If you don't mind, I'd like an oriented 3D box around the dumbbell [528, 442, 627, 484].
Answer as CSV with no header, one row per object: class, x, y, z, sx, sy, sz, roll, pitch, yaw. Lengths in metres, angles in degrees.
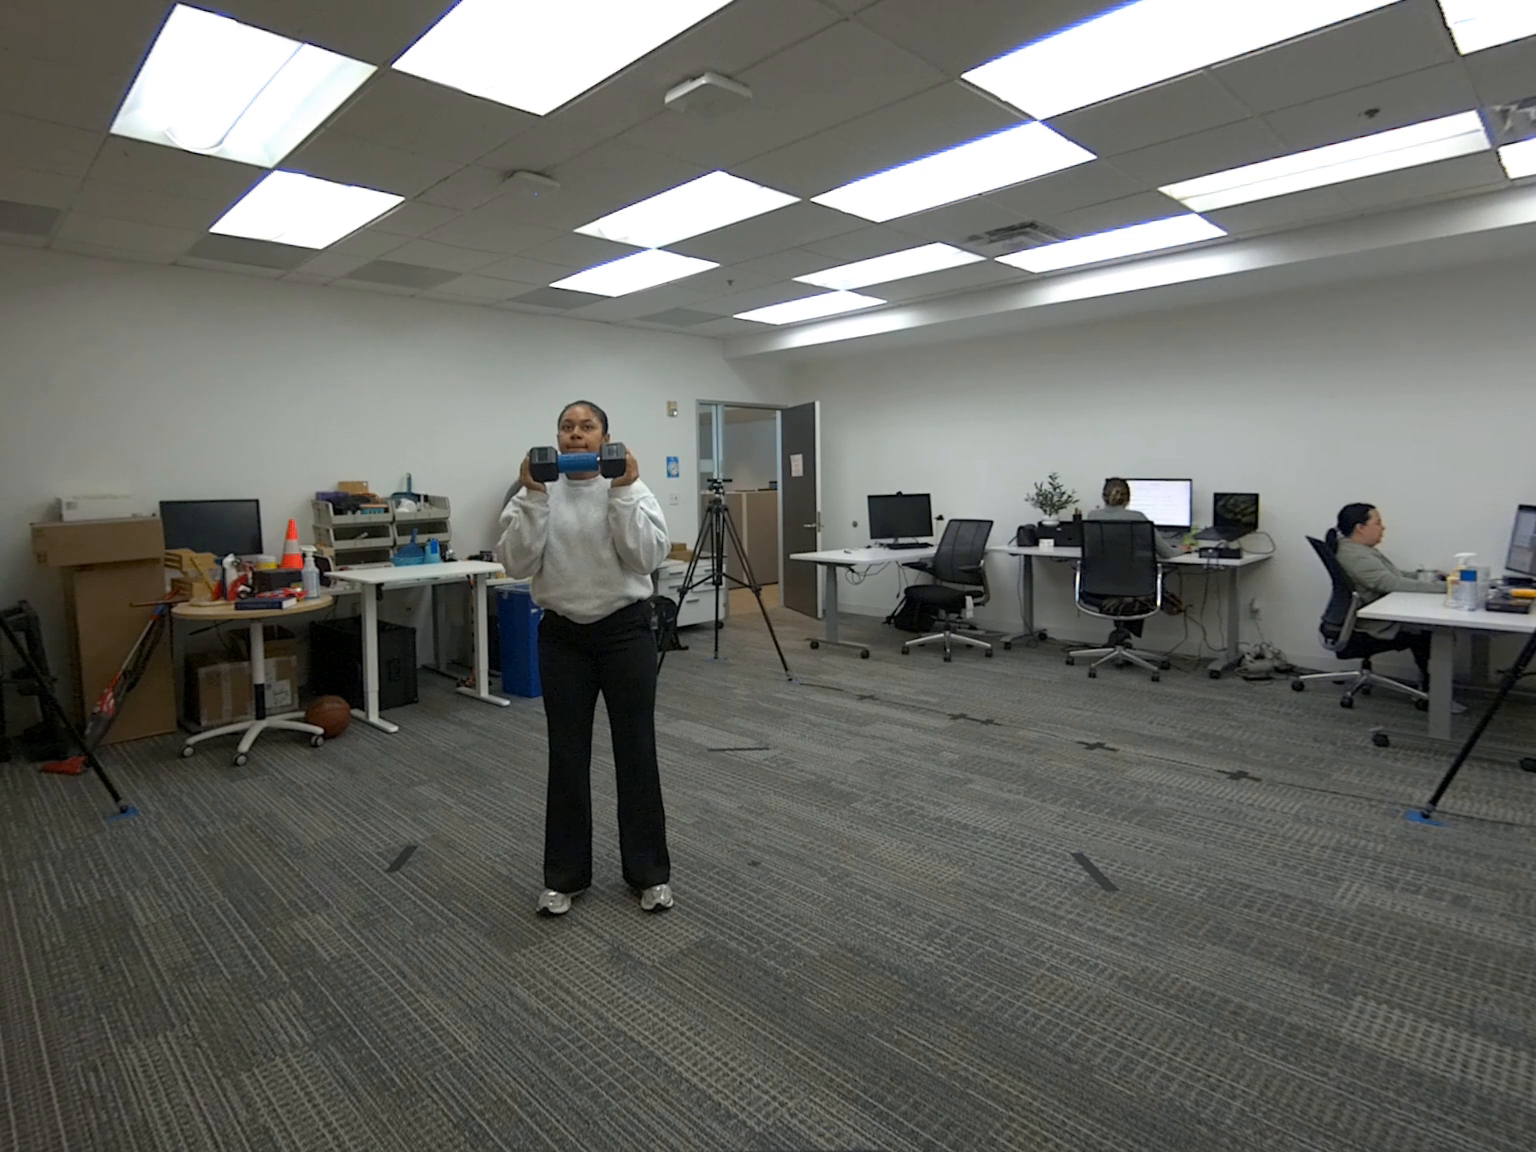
dumbbell,-0.583,-0.343,2.643,0.292,0.126,0.106,-4,-34,-4
